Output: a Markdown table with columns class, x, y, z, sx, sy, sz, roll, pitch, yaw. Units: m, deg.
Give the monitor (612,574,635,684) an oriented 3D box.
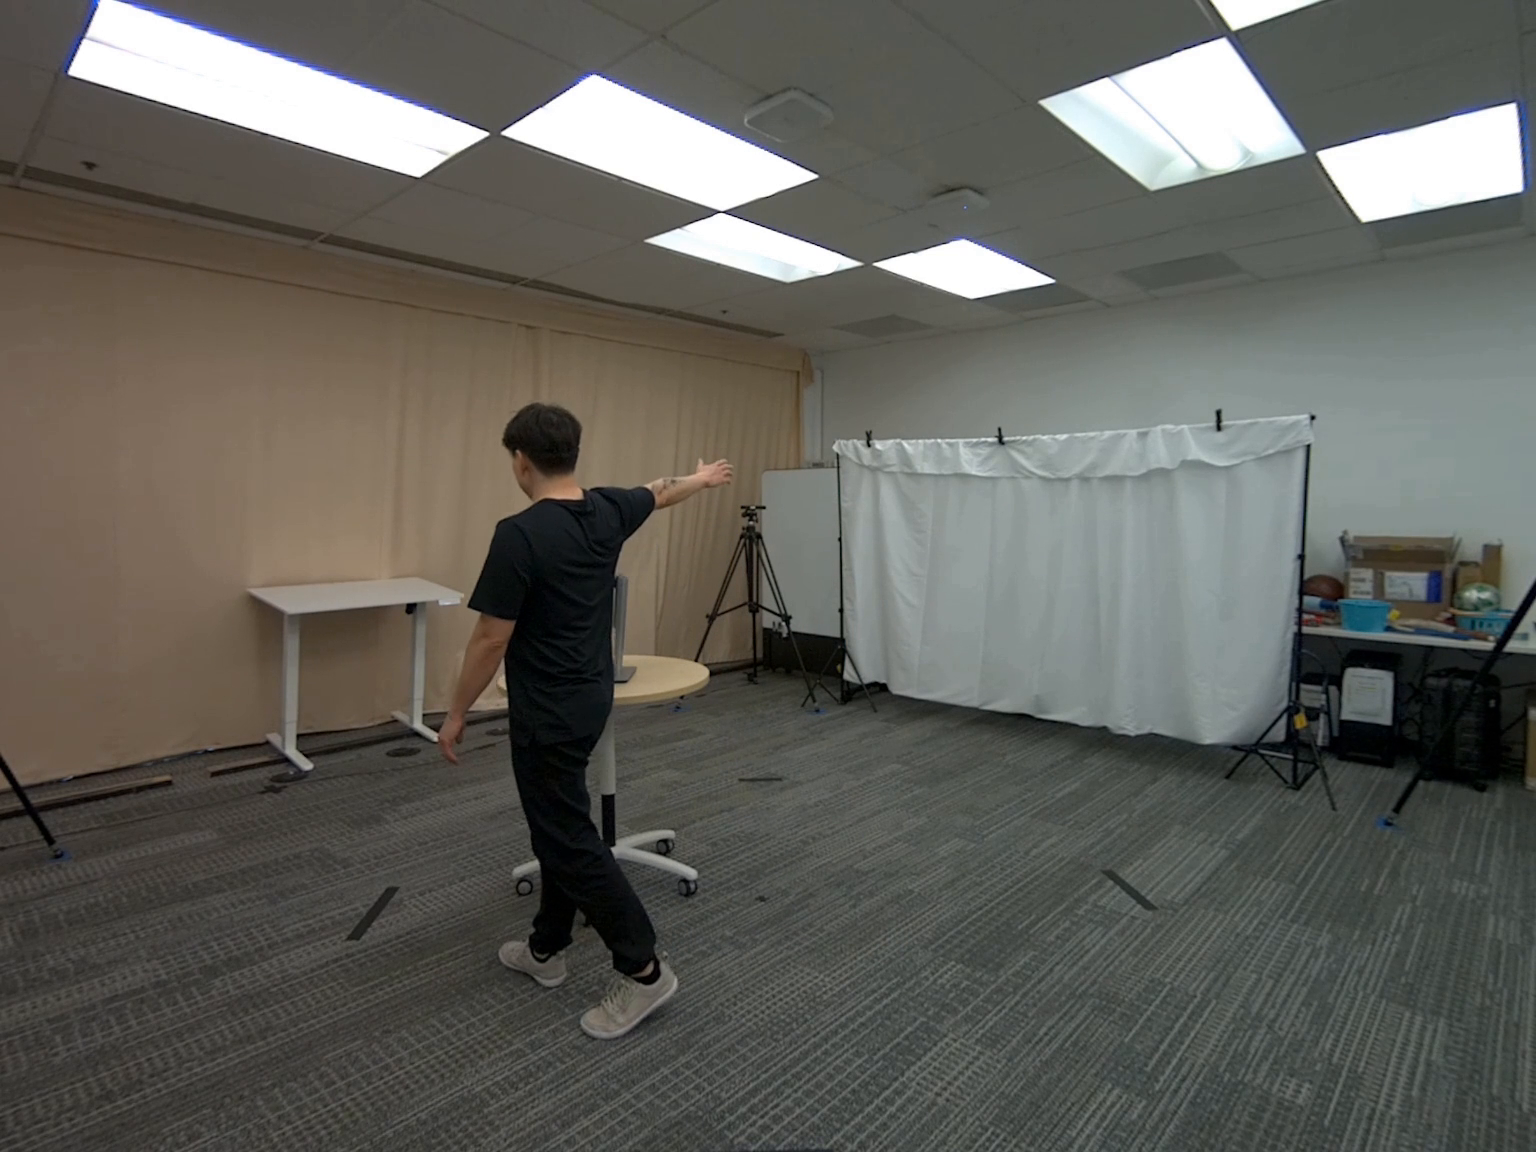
| class | x | y | z | sx | sy | sz | roll | pitch | yaw |
| --- | --- | --- | --- | --- | --- | --- | --- | --- | --- |
| monitor | -0.593 | 0.100 | 3.034 | 0.186 | 0.521 | 0.542 | -2 | 4 | -4 |
